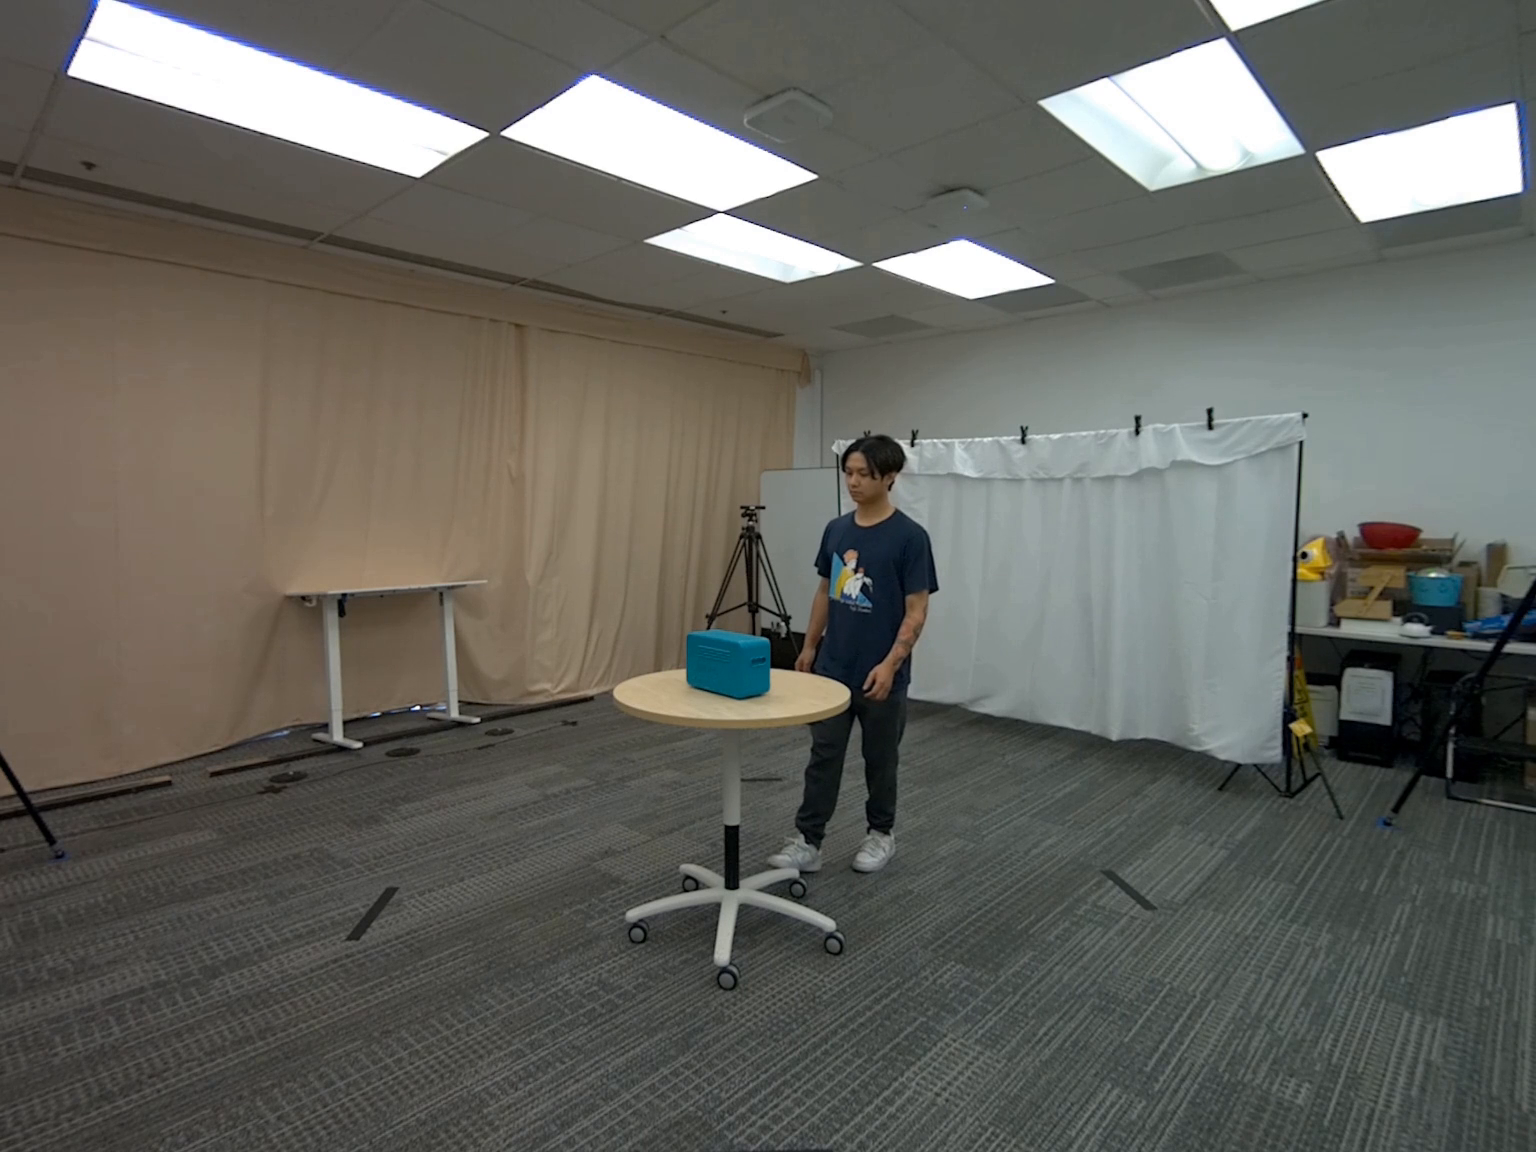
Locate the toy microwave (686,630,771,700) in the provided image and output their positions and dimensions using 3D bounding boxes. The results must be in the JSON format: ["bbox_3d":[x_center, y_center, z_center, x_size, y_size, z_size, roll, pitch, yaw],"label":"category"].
[{"bbox_3d":[-0.117,0.279,2.713,0.148,0.184,0.296,-2,5,-42],"label":"toy microwave"}]
